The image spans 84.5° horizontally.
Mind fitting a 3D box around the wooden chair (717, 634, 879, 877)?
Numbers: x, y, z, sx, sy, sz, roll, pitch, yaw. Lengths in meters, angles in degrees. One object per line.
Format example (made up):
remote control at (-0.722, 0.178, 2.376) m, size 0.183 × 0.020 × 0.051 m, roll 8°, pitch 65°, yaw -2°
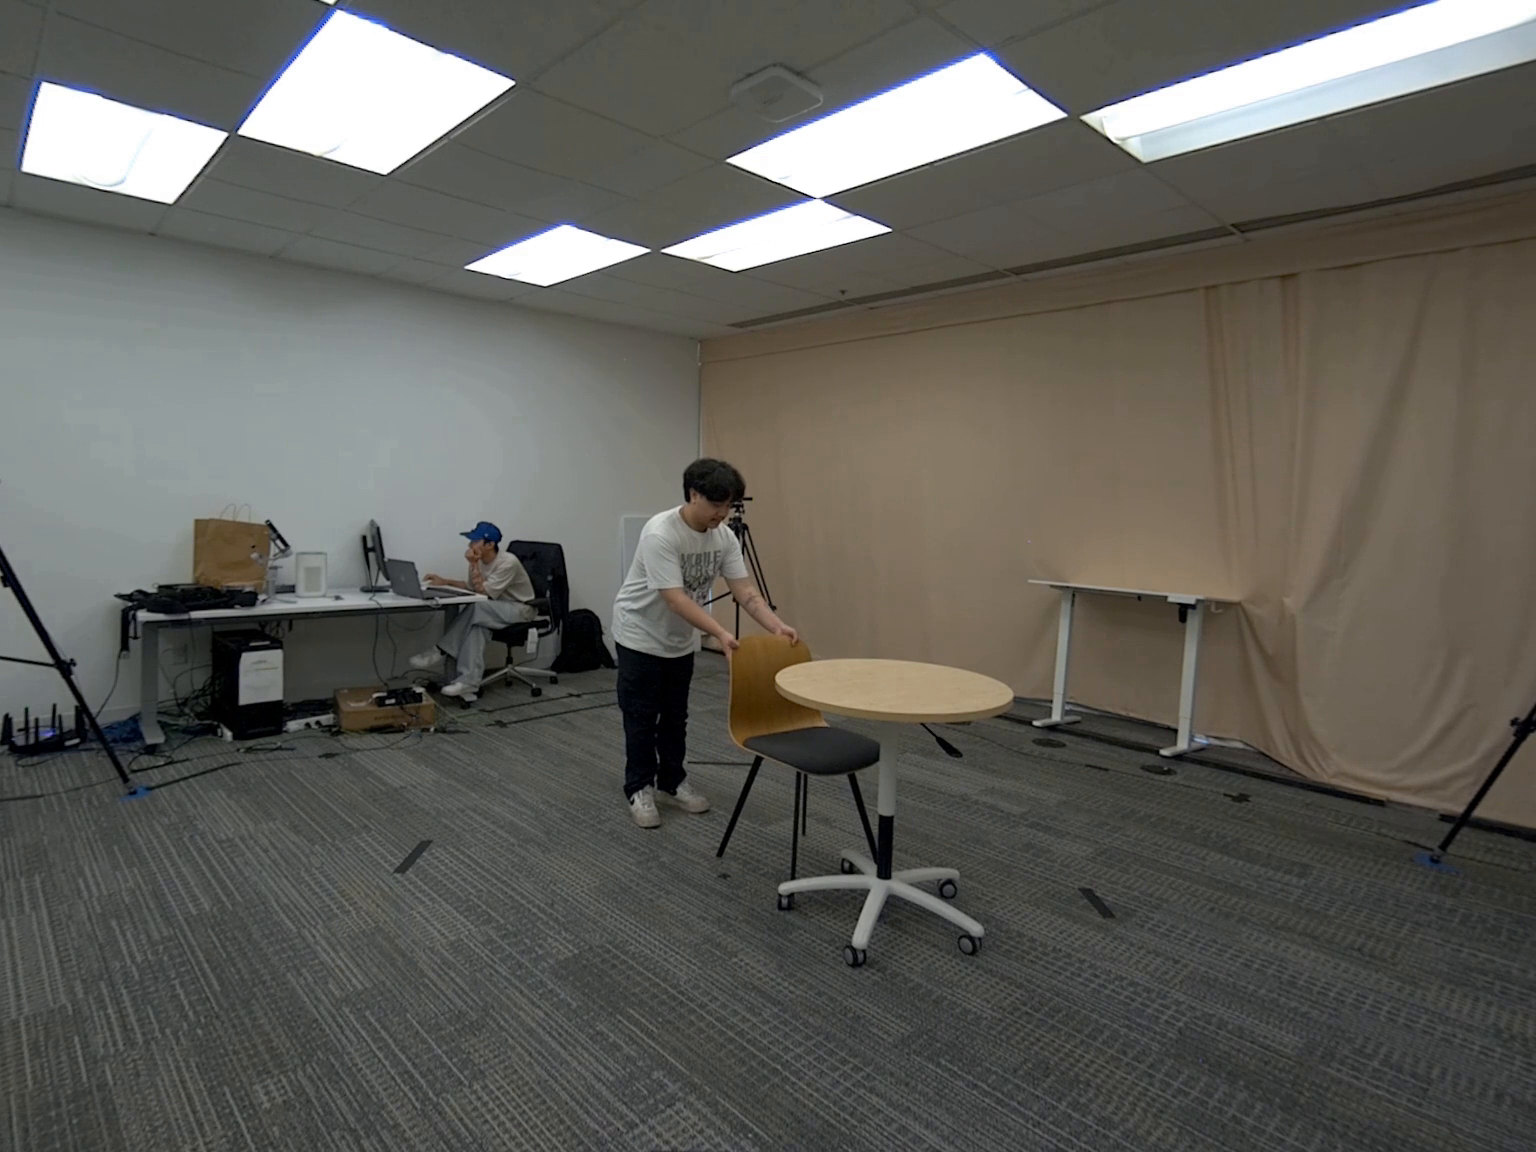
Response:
wooden chair at (0.123, 0.678, 3.176) m, size 0.467 × 0.878 × 0.535 m, roll 0°, pitch -1°, yaw -37°
